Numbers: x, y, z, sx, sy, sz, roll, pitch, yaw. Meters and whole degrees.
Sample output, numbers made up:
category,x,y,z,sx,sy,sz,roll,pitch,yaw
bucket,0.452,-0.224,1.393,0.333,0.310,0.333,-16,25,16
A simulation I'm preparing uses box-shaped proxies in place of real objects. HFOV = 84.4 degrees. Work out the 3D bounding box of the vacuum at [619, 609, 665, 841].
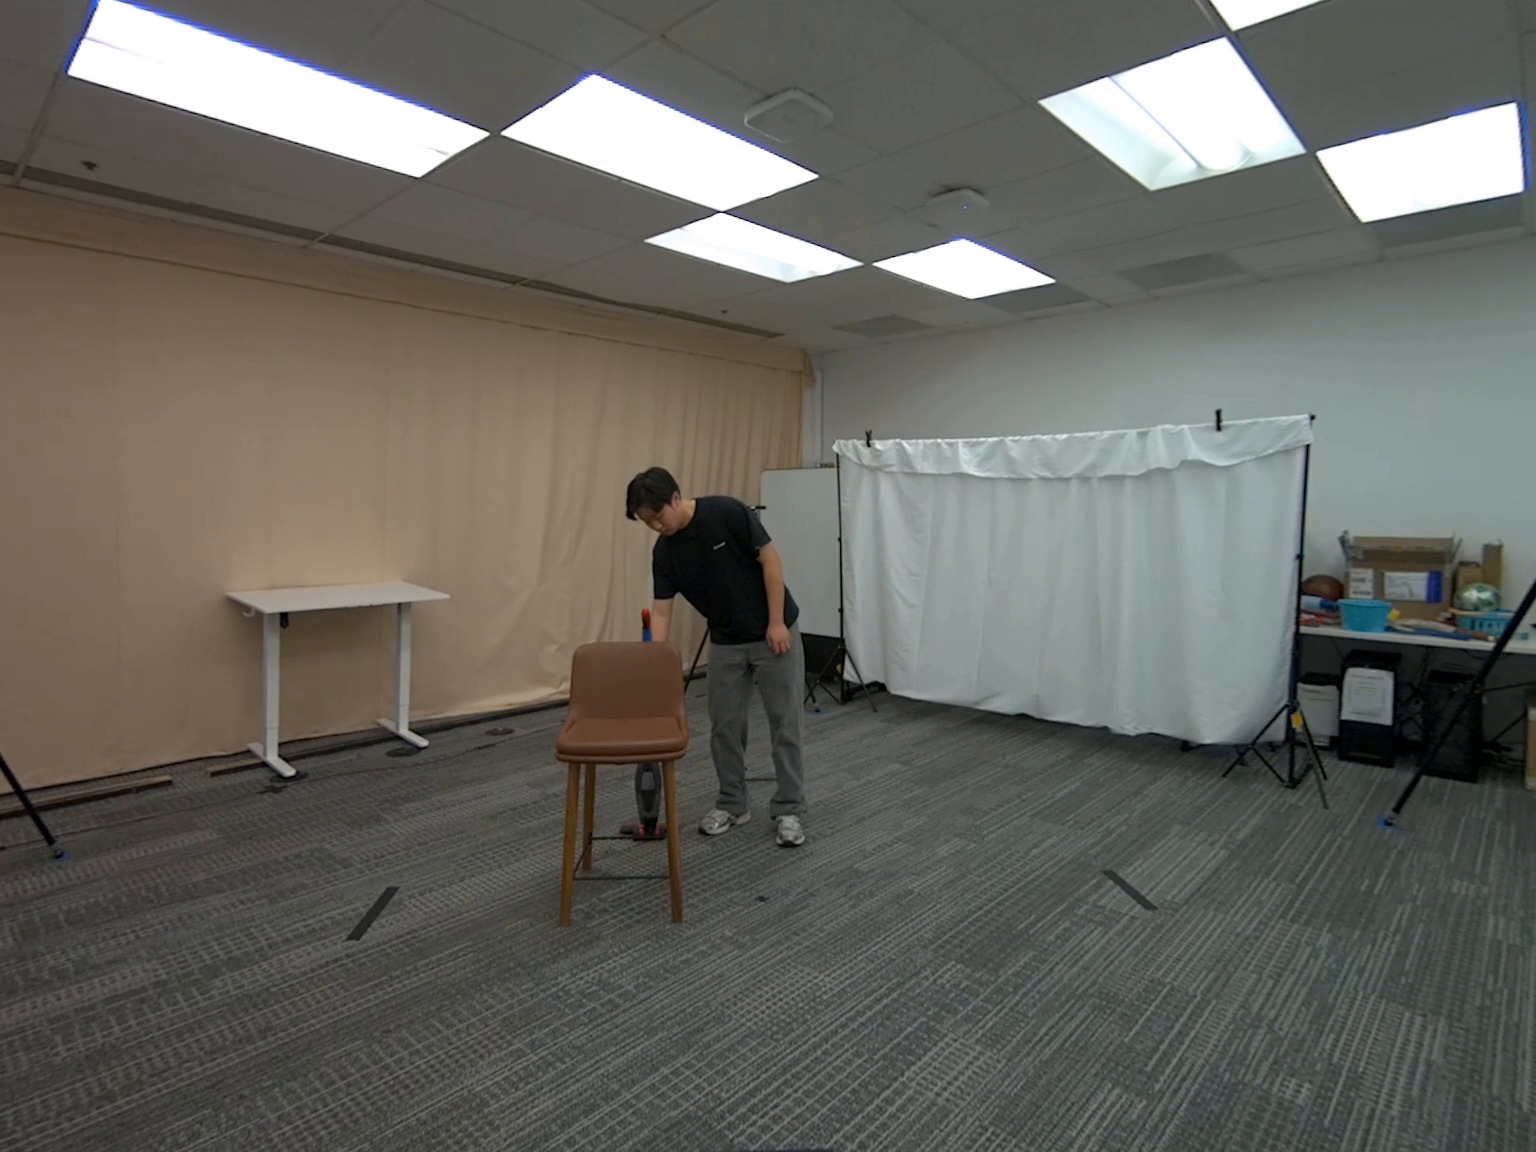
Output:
category,x,y,z,sx,sy,sz,roll,pitch,yaw
vacuum,-0.489,0.621,3.383,0.249,1.037,0.148,-3,23,-15
